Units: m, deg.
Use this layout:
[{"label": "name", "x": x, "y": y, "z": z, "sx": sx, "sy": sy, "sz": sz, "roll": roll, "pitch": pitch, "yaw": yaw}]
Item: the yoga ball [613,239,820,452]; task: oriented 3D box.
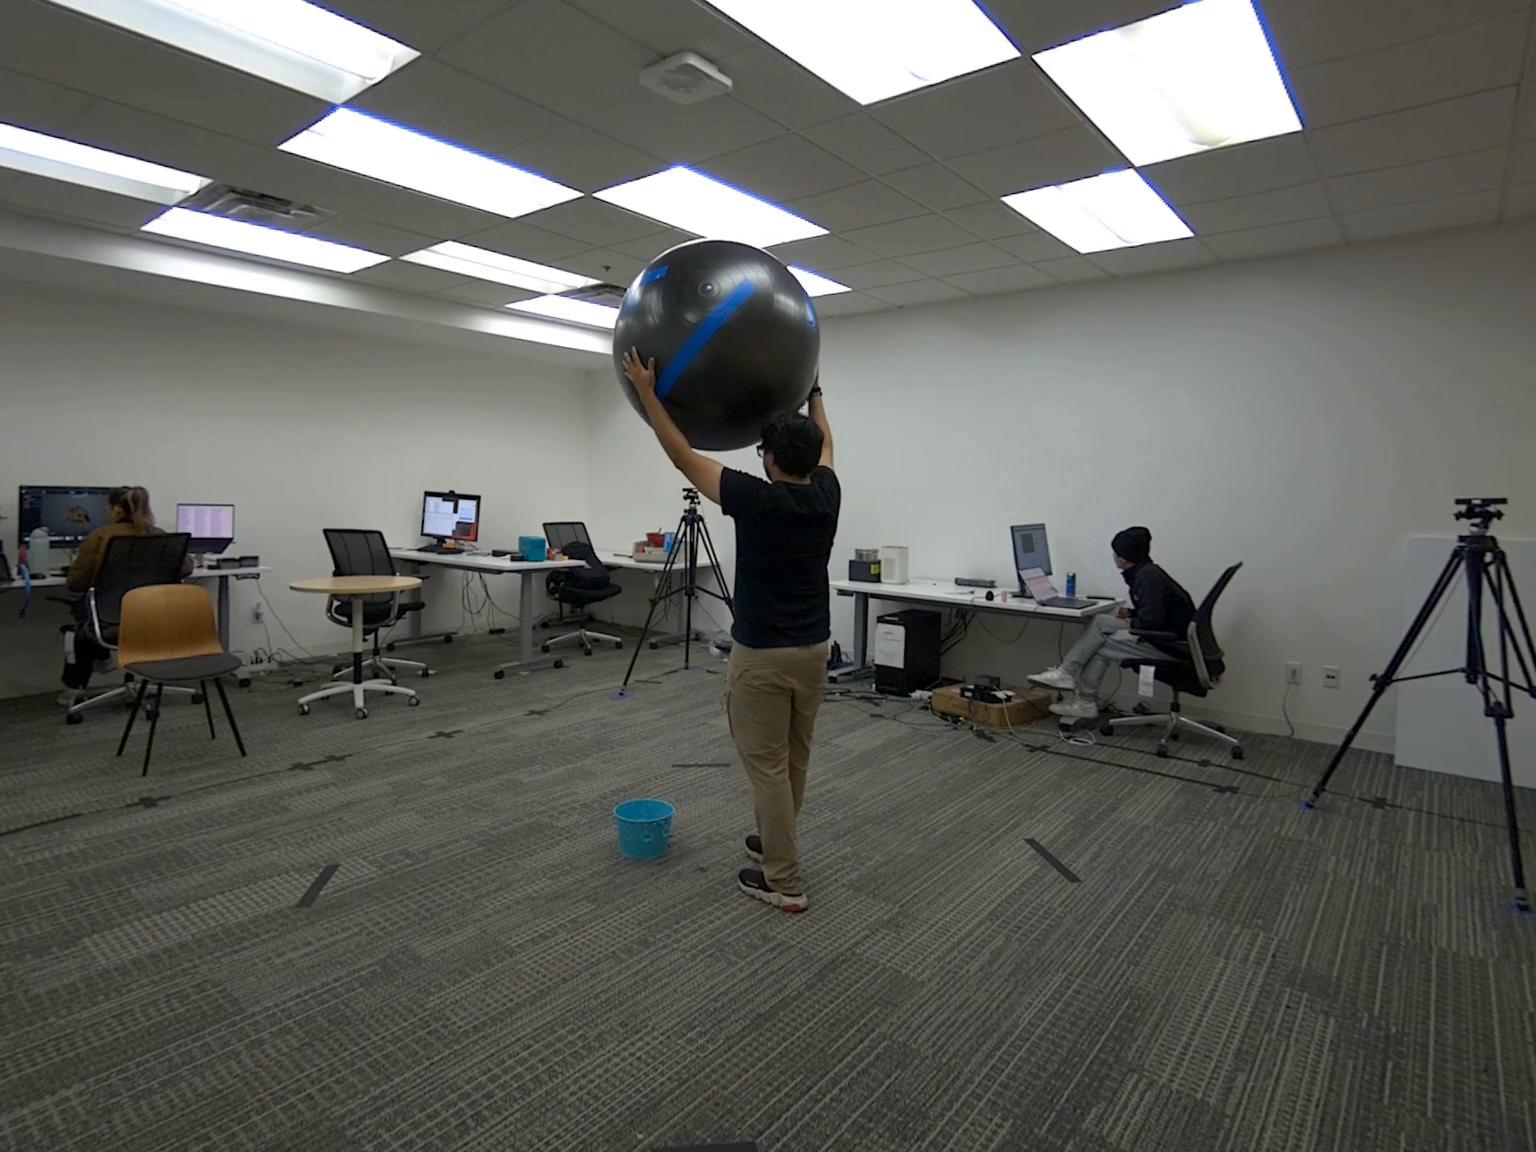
[{"label": "yoga ball", "x": -0.197, "y": -0.835, "z": 3.116, "sx": 0.757, "sy": 0.756, "sz": 0.761, "roll": 1, "pitch": 4, "yaw": -2}]
